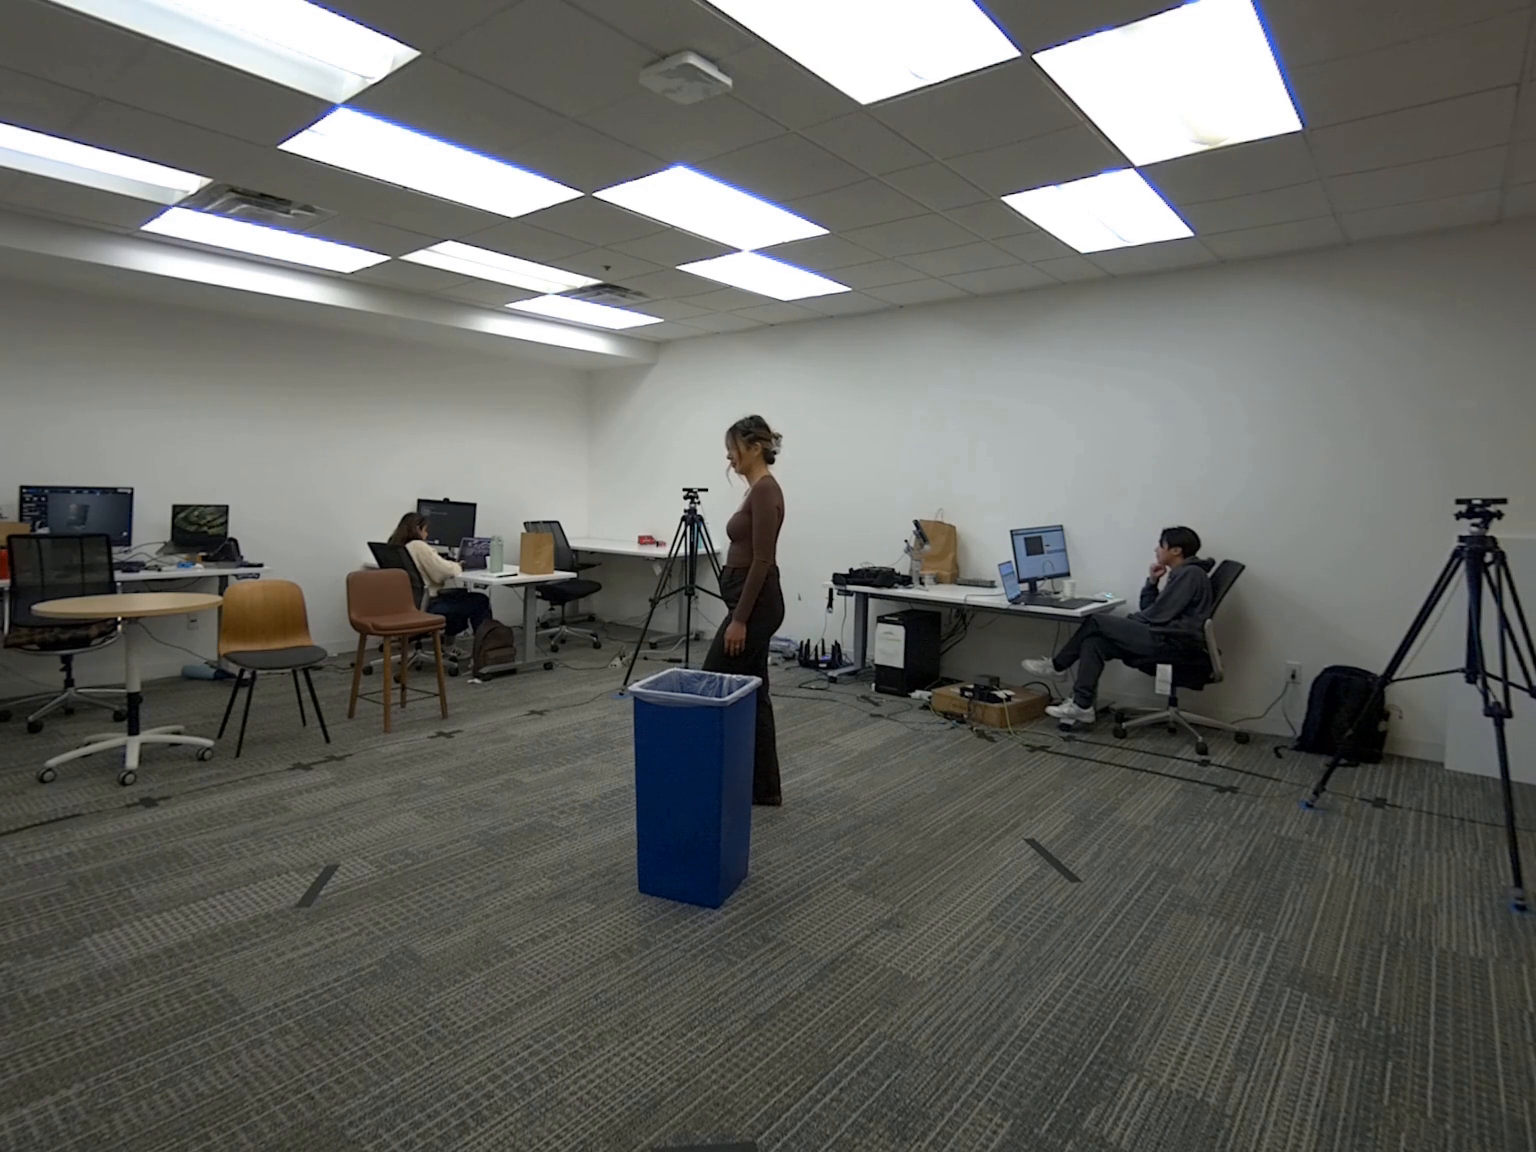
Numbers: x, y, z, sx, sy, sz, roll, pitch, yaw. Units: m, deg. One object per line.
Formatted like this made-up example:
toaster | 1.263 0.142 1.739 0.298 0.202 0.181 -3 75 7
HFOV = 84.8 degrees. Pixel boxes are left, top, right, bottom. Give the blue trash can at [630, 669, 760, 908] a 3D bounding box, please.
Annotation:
blue trash can | -0.264 0.721 2.978 0.386 0.712 0.367 2 3 21
